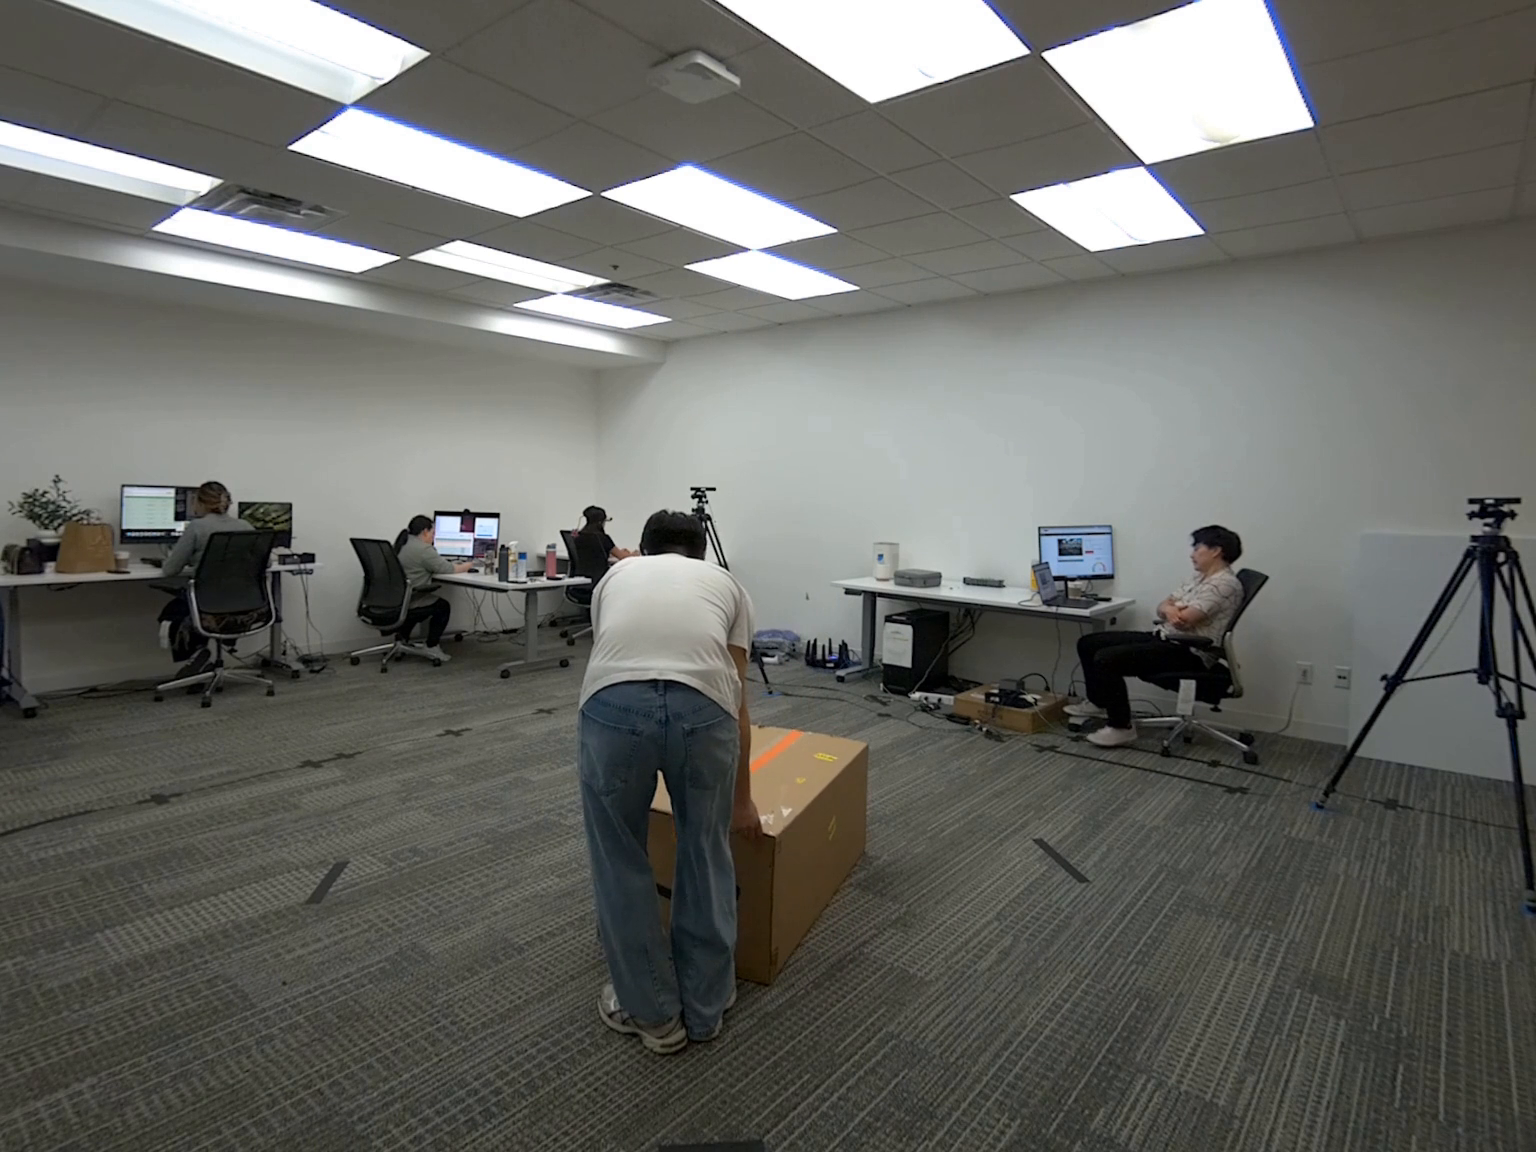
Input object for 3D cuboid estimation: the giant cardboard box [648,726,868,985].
[{"bbox_3d":[-0.071,0.866,2.941,0.592,0.425,1.005,4,5,22],"label":"giant cardboard box"}]
